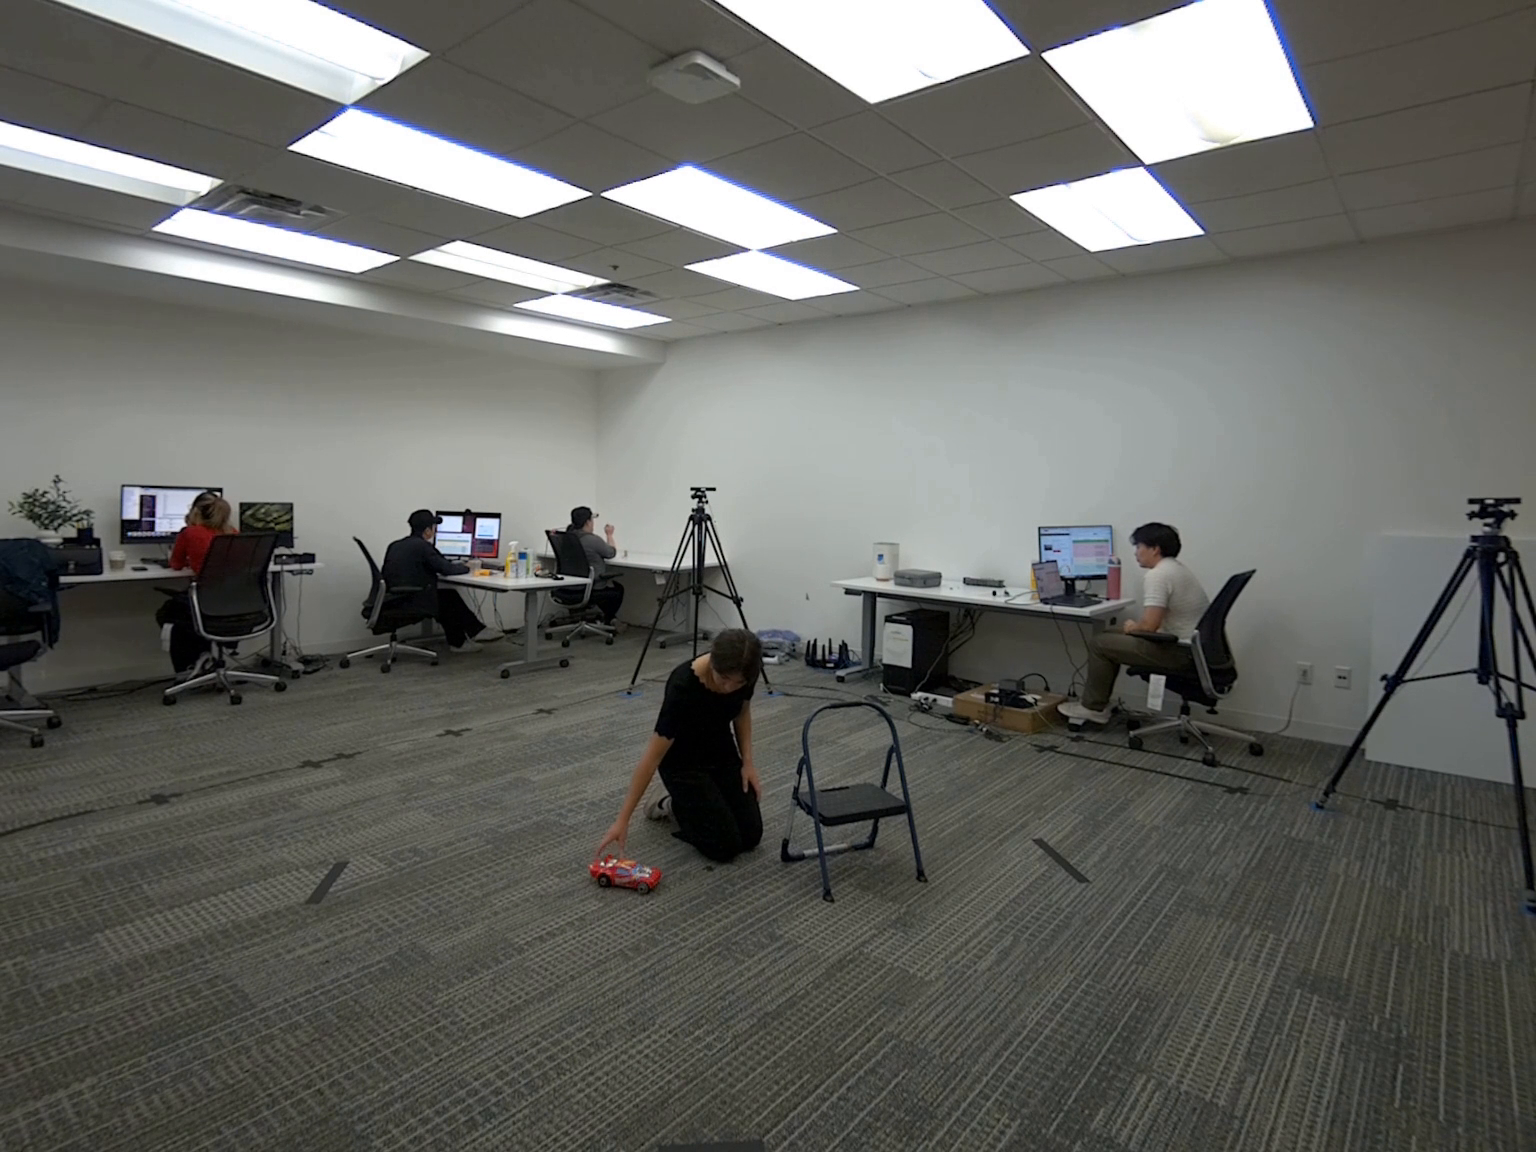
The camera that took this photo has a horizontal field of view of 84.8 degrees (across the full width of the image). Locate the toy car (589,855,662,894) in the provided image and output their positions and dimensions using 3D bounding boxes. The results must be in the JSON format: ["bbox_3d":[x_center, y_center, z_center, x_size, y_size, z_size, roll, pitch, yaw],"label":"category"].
[{"bbox_3d":[-0.516,1.043,2.979,0.259,0.082,0.129,13,10,15],"label":"toy car"}]
